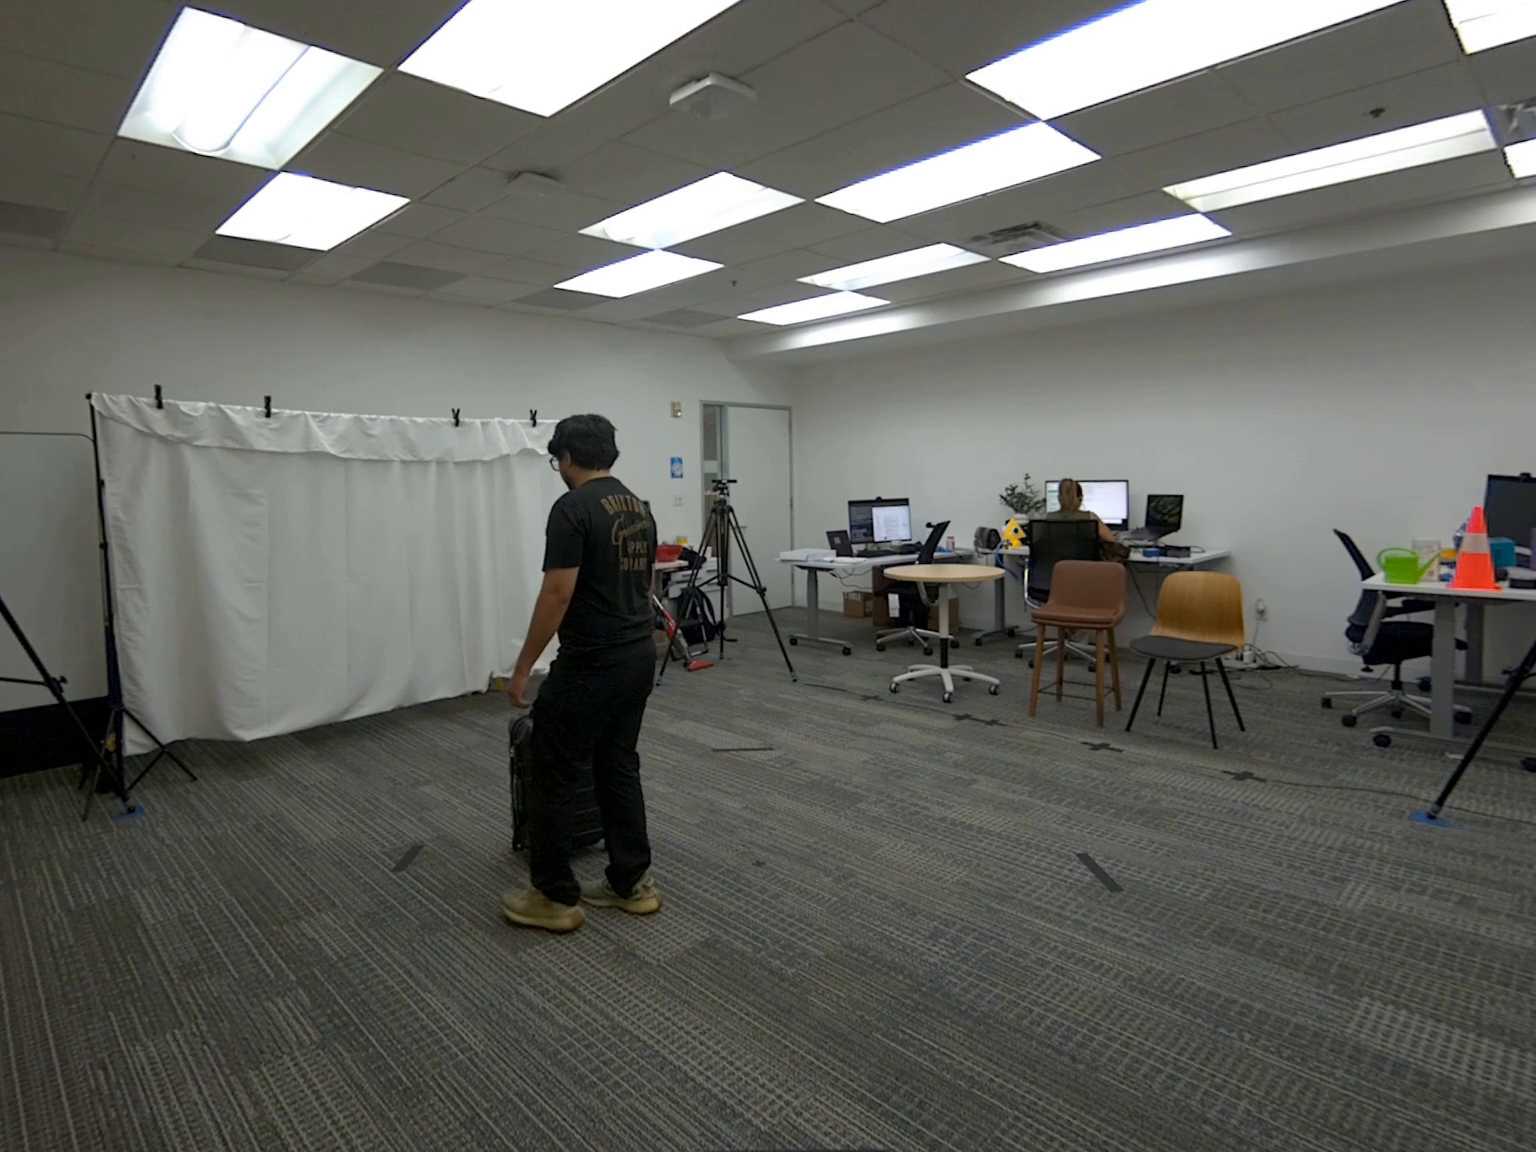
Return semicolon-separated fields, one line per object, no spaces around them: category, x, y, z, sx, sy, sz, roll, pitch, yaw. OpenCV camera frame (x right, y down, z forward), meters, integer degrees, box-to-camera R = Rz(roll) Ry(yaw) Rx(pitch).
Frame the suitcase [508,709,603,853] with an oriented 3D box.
suitcase;-0.789;0.772;3.235;0.366;0.547;0.255;-4;5;-31
